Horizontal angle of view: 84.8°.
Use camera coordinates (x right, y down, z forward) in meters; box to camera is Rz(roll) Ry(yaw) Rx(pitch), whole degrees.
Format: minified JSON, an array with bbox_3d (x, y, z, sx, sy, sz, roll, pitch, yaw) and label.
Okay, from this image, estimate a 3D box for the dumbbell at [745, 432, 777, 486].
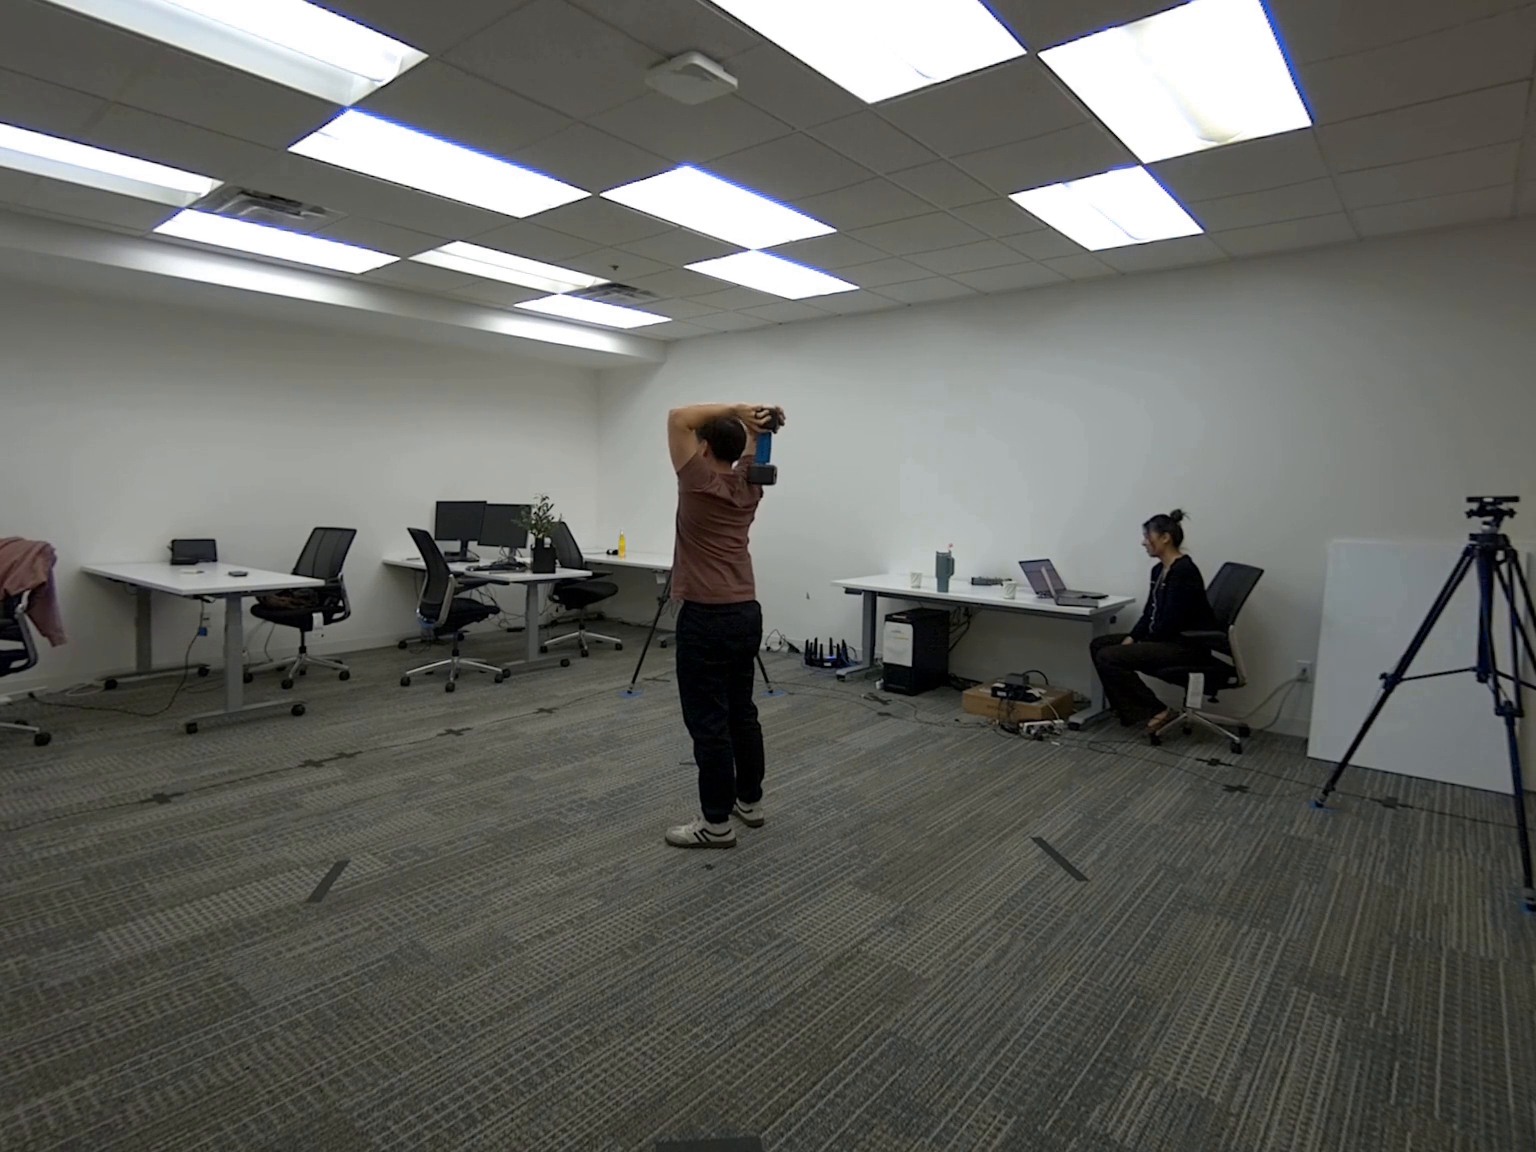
[{"bbox_3d":[-0.034,-0.510,3.268,0.105,0.292,0.127,-4,5,-43],"label":"dumbbell"}]
